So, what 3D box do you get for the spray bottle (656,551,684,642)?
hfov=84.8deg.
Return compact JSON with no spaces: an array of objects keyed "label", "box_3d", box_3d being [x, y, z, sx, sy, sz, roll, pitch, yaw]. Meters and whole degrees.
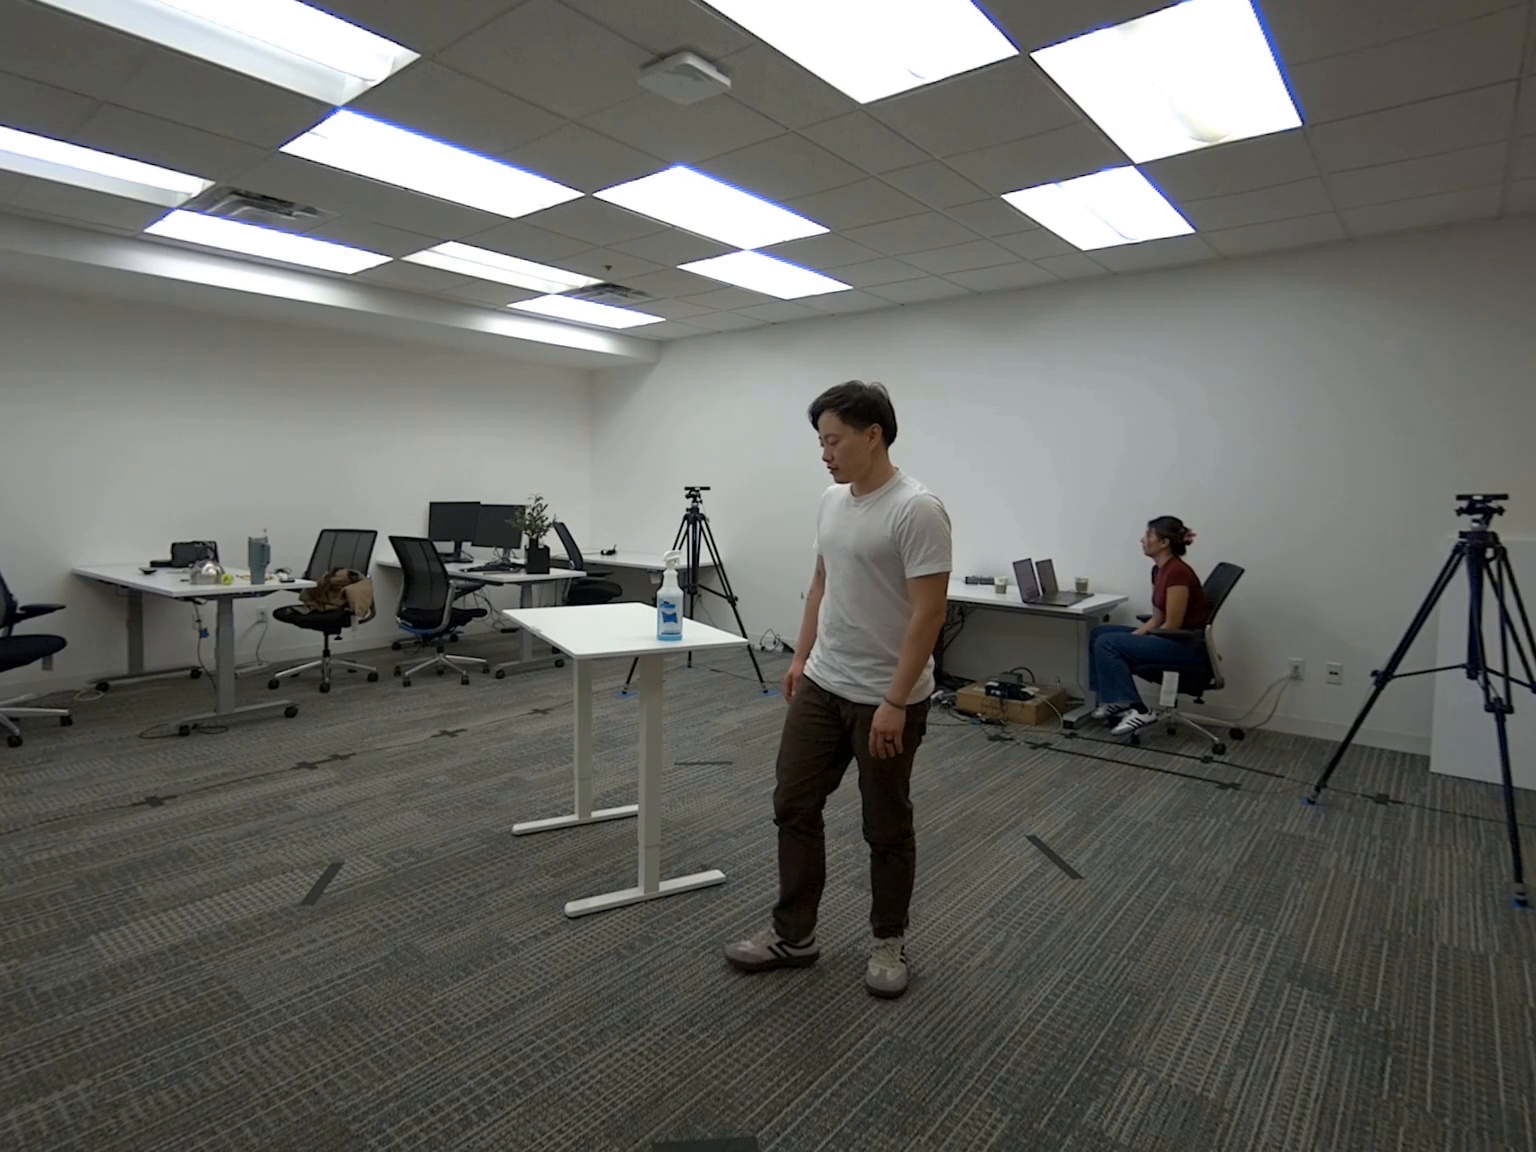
[{"label":"spray bottle","box_3d":[-0.334,0.065,2.848,0.087,0.297,0.089,-1,1,-30]}]
